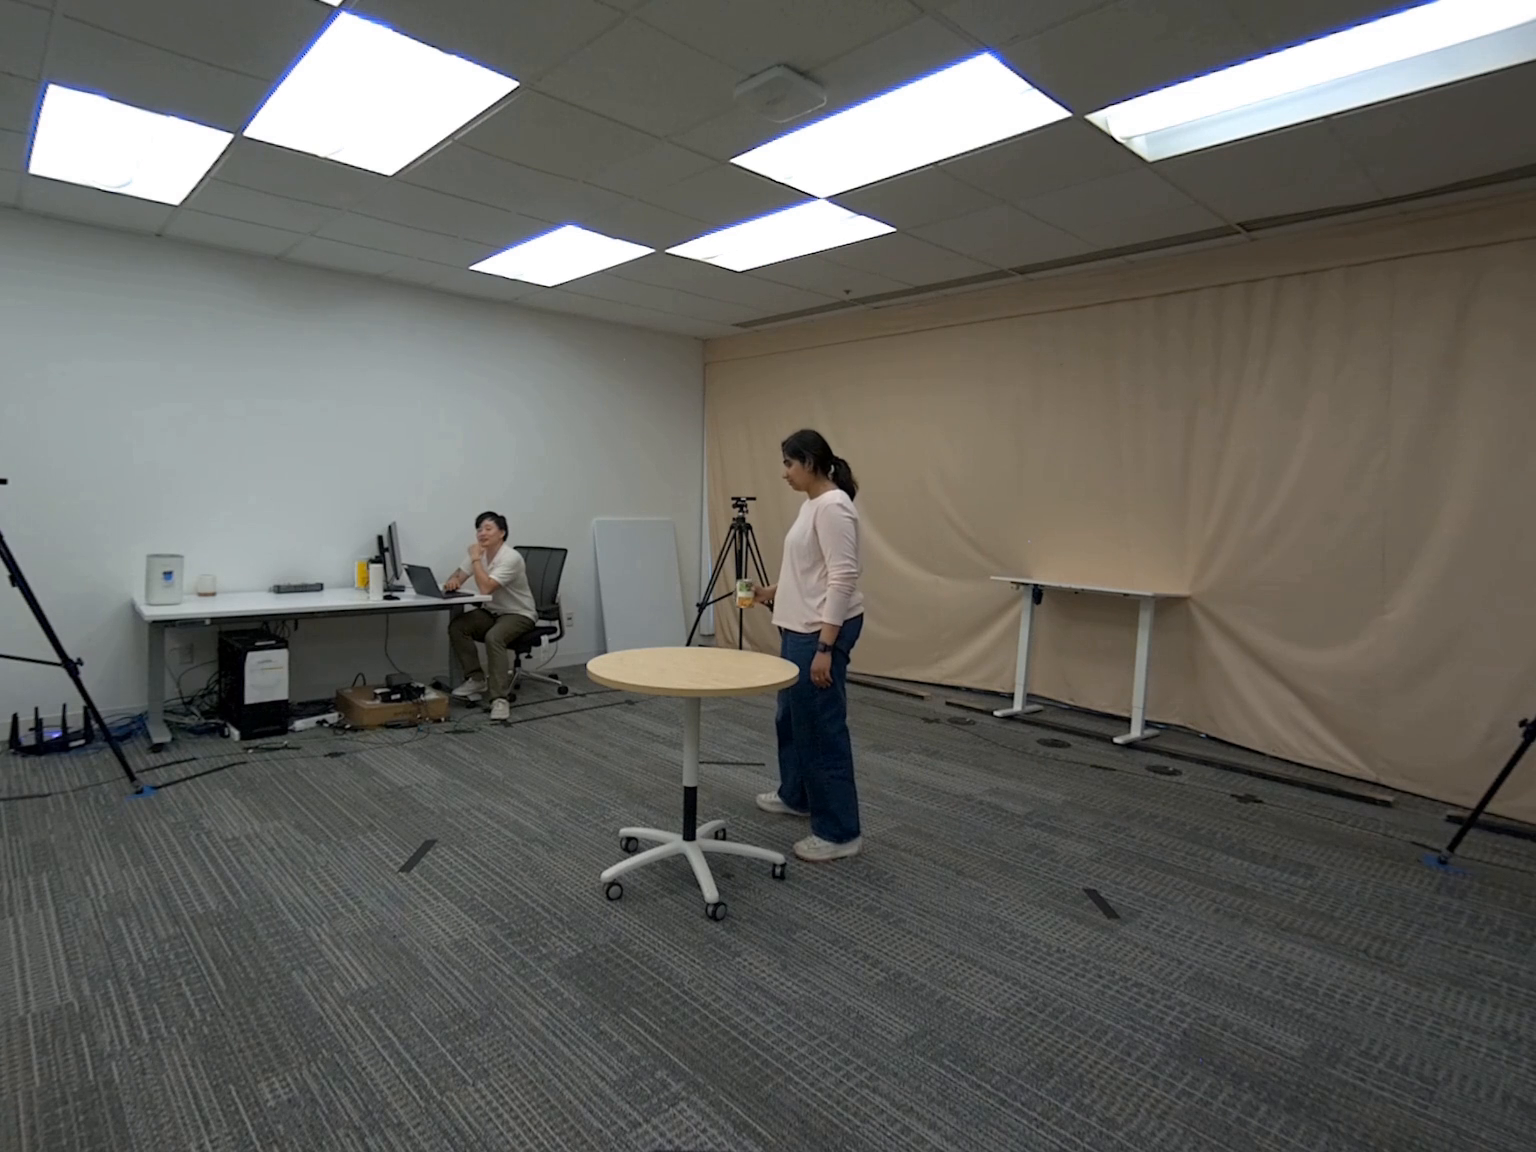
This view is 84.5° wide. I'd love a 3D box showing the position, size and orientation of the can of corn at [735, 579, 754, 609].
[{"bbox_3d":[-0.100,0.073,3.502,0.074,0.111,0.074,0,2,-1],"label":"can of corn"}]
